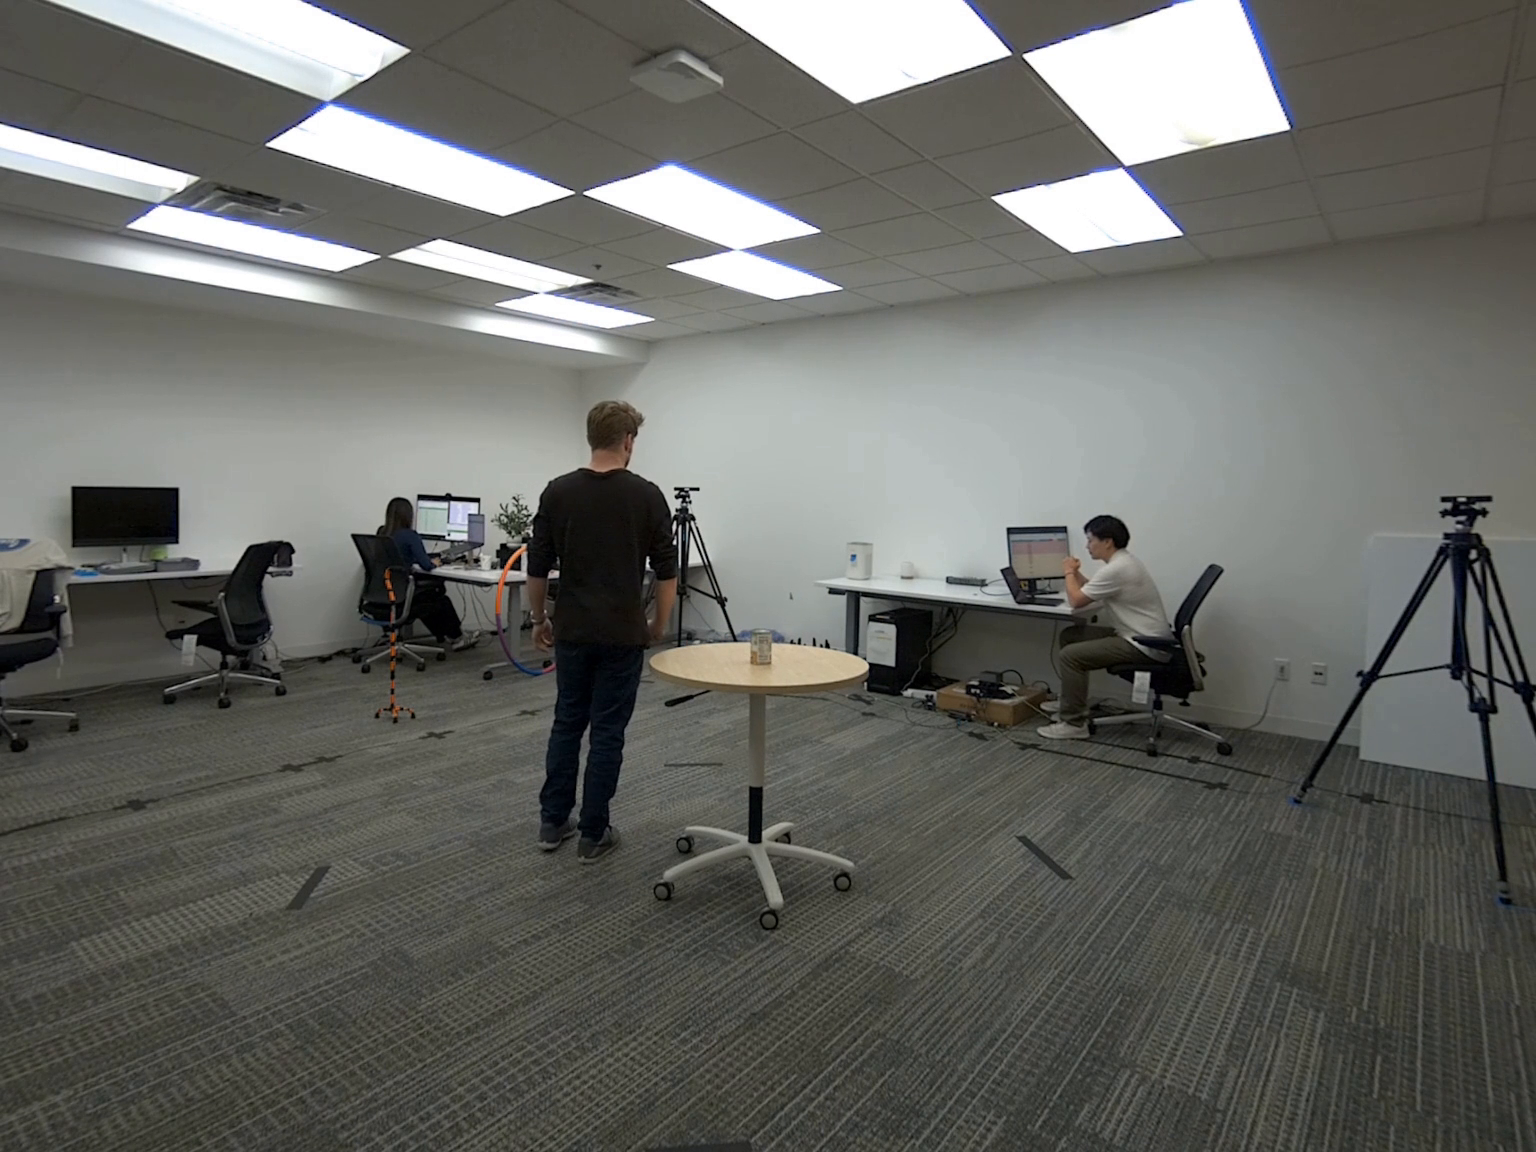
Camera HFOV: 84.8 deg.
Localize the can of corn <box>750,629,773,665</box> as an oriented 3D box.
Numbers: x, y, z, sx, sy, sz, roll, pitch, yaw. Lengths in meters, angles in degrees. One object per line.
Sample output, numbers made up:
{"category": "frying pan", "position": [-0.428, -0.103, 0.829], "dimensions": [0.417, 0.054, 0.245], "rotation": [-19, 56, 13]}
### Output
{"category": "can of corn", "position": [-0.030, 0.249, 2.950], "dimensions": [0.074, 0.111, 0.074], "rotation": [4, 4, -2]}
